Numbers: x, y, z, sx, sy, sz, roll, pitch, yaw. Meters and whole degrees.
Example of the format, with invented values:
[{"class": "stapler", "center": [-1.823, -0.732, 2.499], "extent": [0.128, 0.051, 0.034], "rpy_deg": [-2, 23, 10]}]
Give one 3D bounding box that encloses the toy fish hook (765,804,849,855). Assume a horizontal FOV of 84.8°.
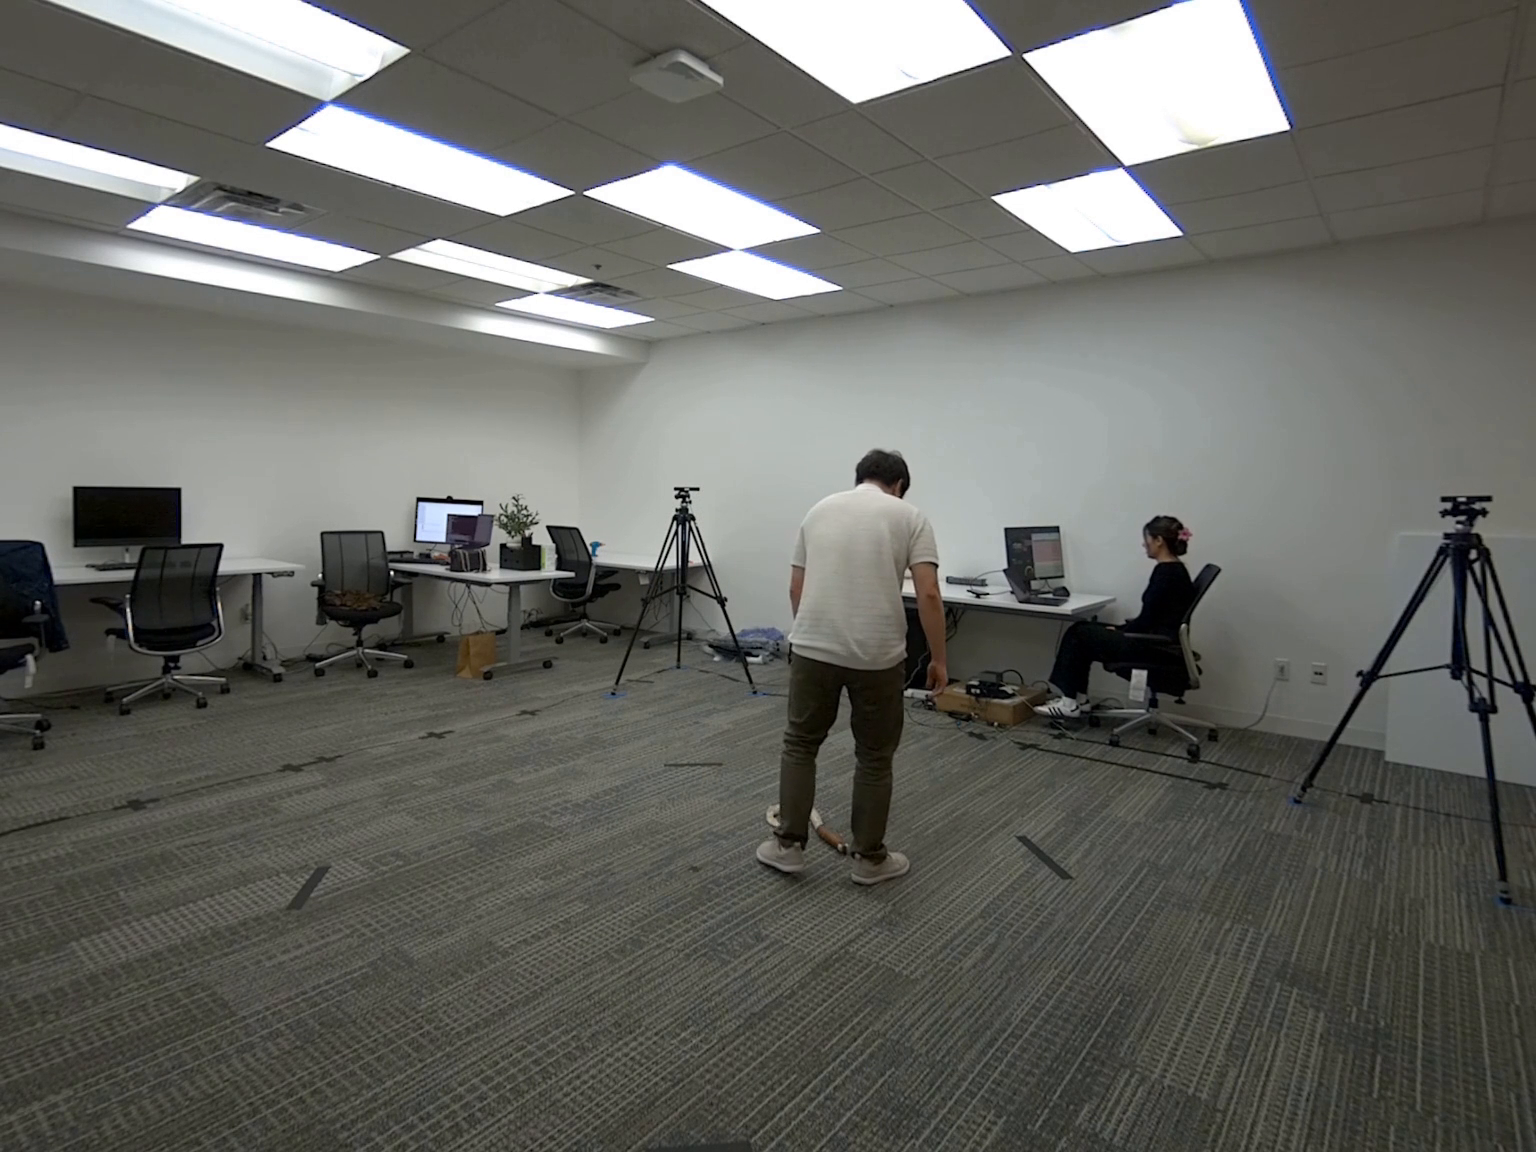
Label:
[{"class": "toy fish hook", "center": [0.140, 1.020, 3.463], "extent": [0.221, 0.048, 0.519], "rpy_deg": [-10, 9, -21]}]
